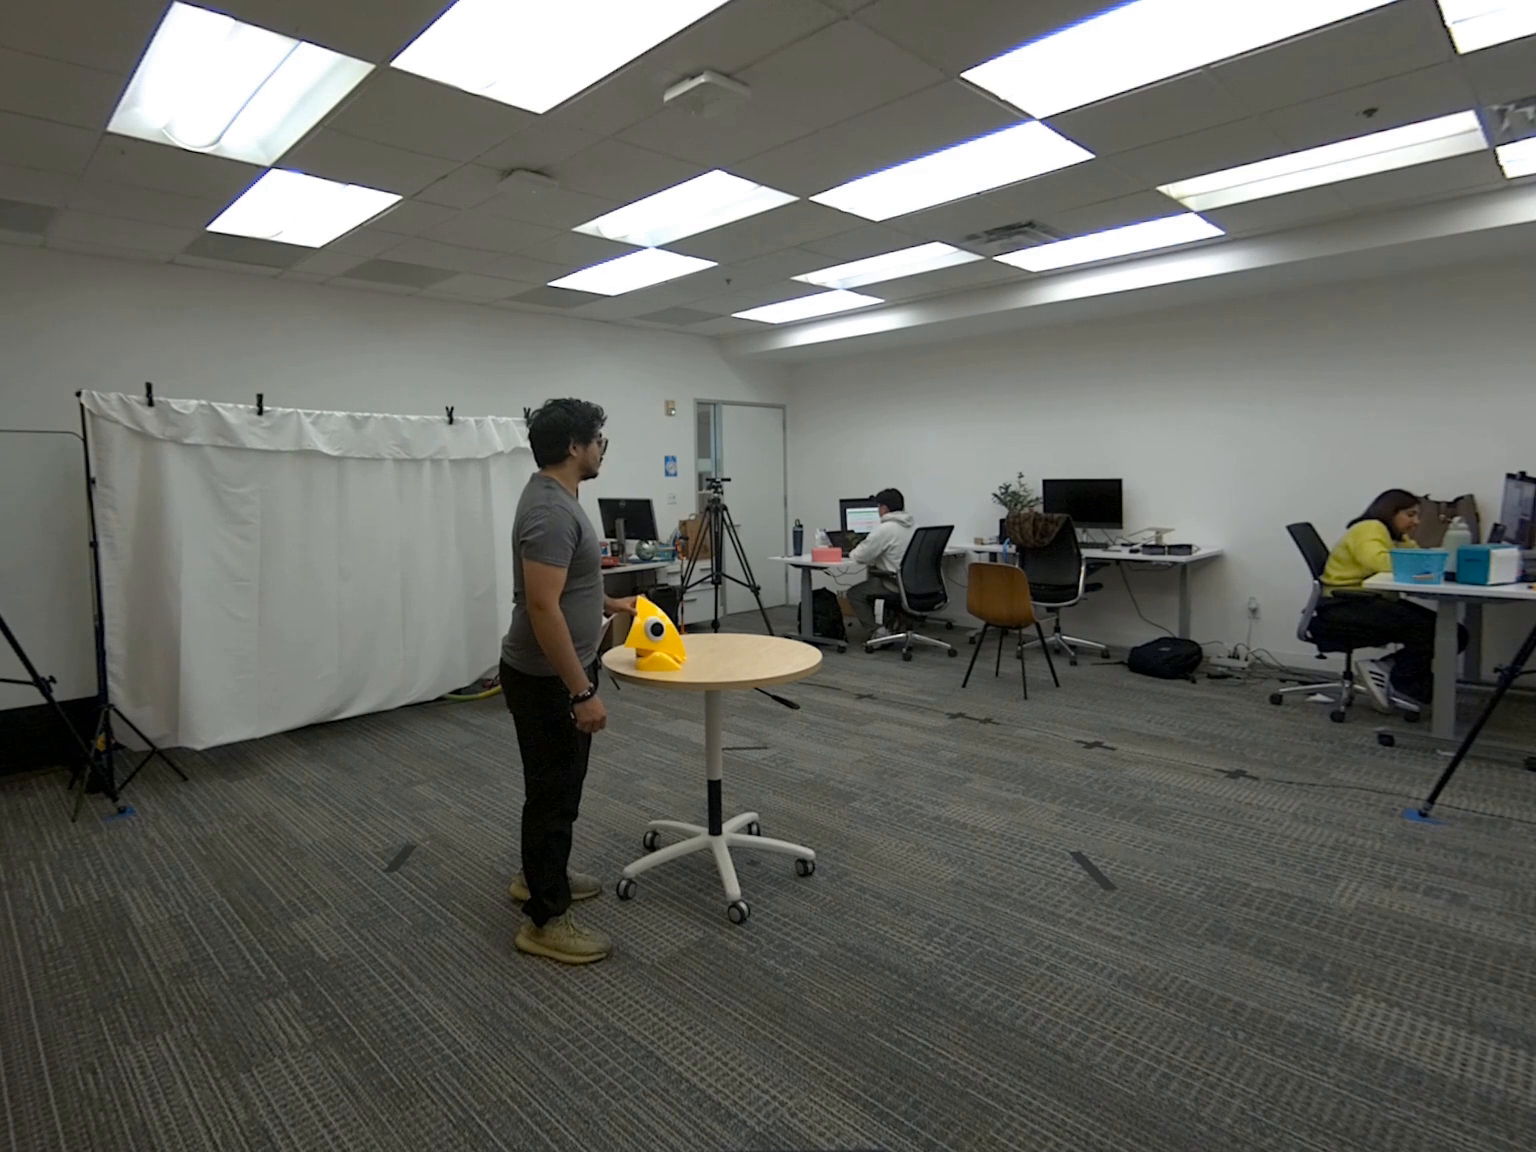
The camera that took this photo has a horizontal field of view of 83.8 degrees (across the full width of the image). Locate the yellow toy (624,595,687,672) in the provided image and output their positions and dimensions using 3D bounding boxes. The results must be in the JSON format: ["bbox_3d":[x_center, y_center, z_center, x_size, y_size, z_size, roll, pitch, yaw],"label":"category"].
[{"bbox_3d":[-0.368,0.179,2.849,0.194,0.230,0.205,-2,5,3],"label":"yellow toy"}]
